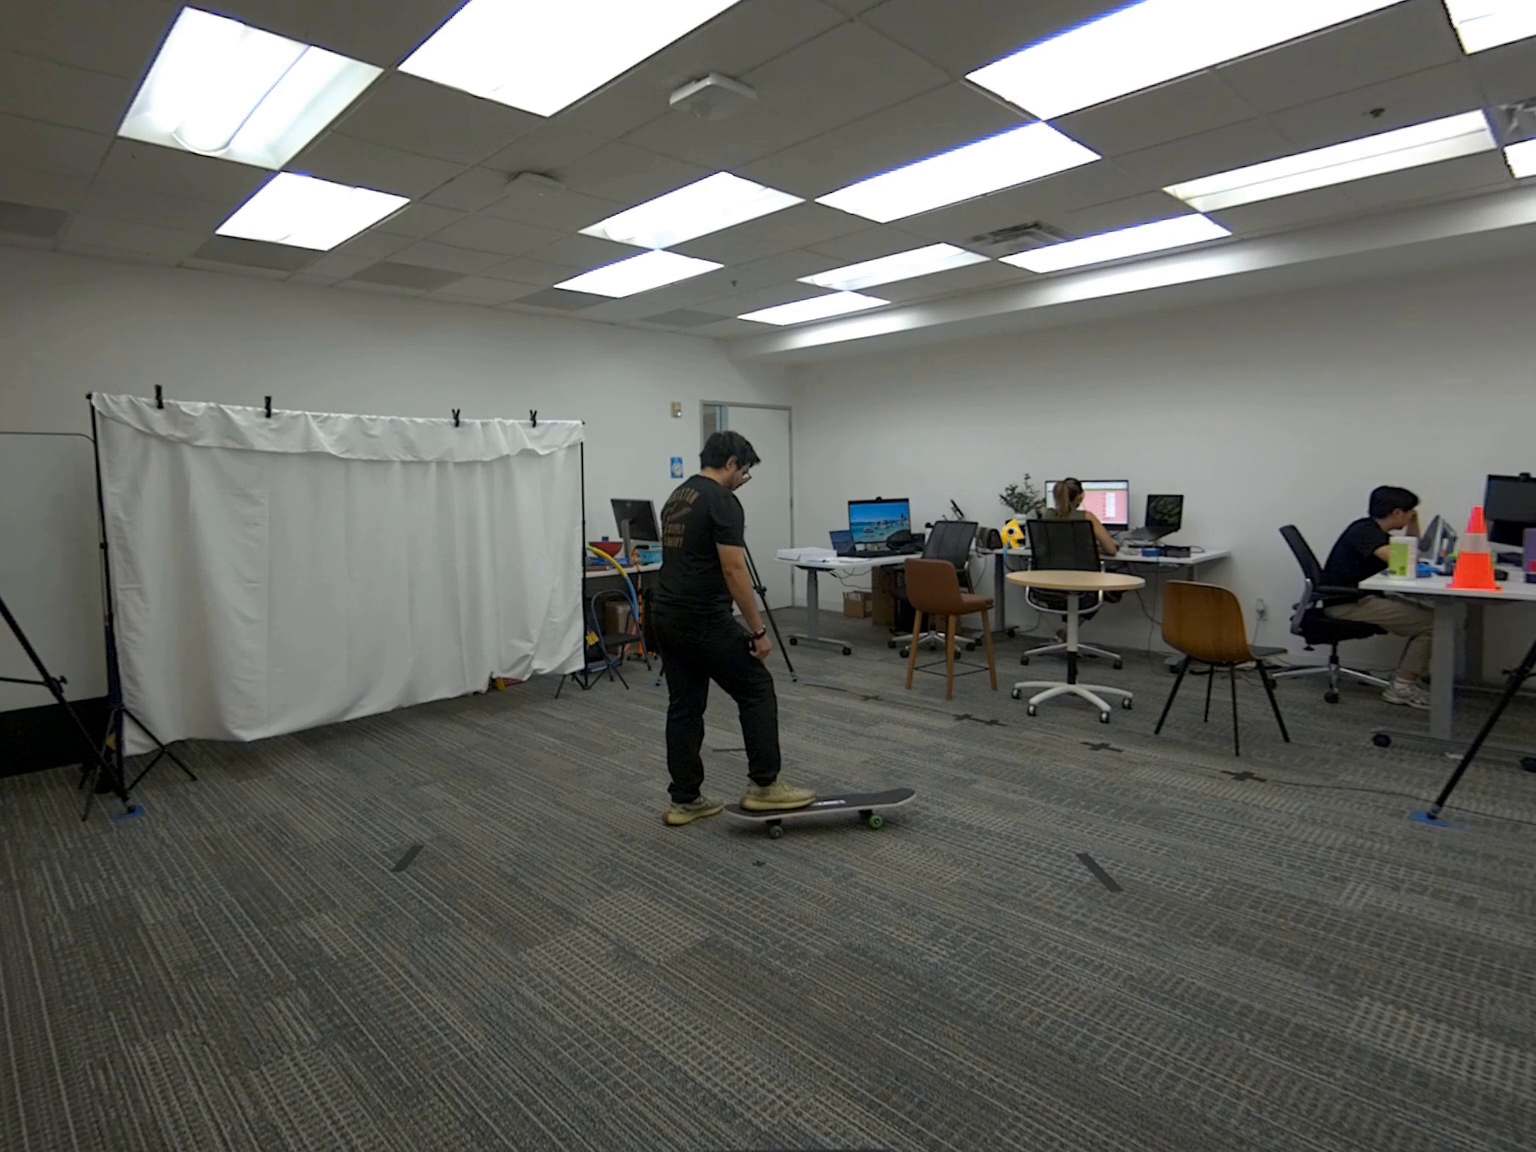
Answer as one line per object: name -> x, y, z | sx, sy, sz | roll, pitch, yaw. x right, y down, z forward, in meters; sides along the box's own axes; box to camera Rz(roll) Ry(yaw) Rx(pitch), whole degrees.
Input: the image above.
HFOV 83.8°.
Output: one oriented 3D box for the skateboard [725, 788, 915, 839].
skateboard -> 0.211, 0.945, 3.433 | 0.780, 0.110, 0.195 | -3, 2, -7
